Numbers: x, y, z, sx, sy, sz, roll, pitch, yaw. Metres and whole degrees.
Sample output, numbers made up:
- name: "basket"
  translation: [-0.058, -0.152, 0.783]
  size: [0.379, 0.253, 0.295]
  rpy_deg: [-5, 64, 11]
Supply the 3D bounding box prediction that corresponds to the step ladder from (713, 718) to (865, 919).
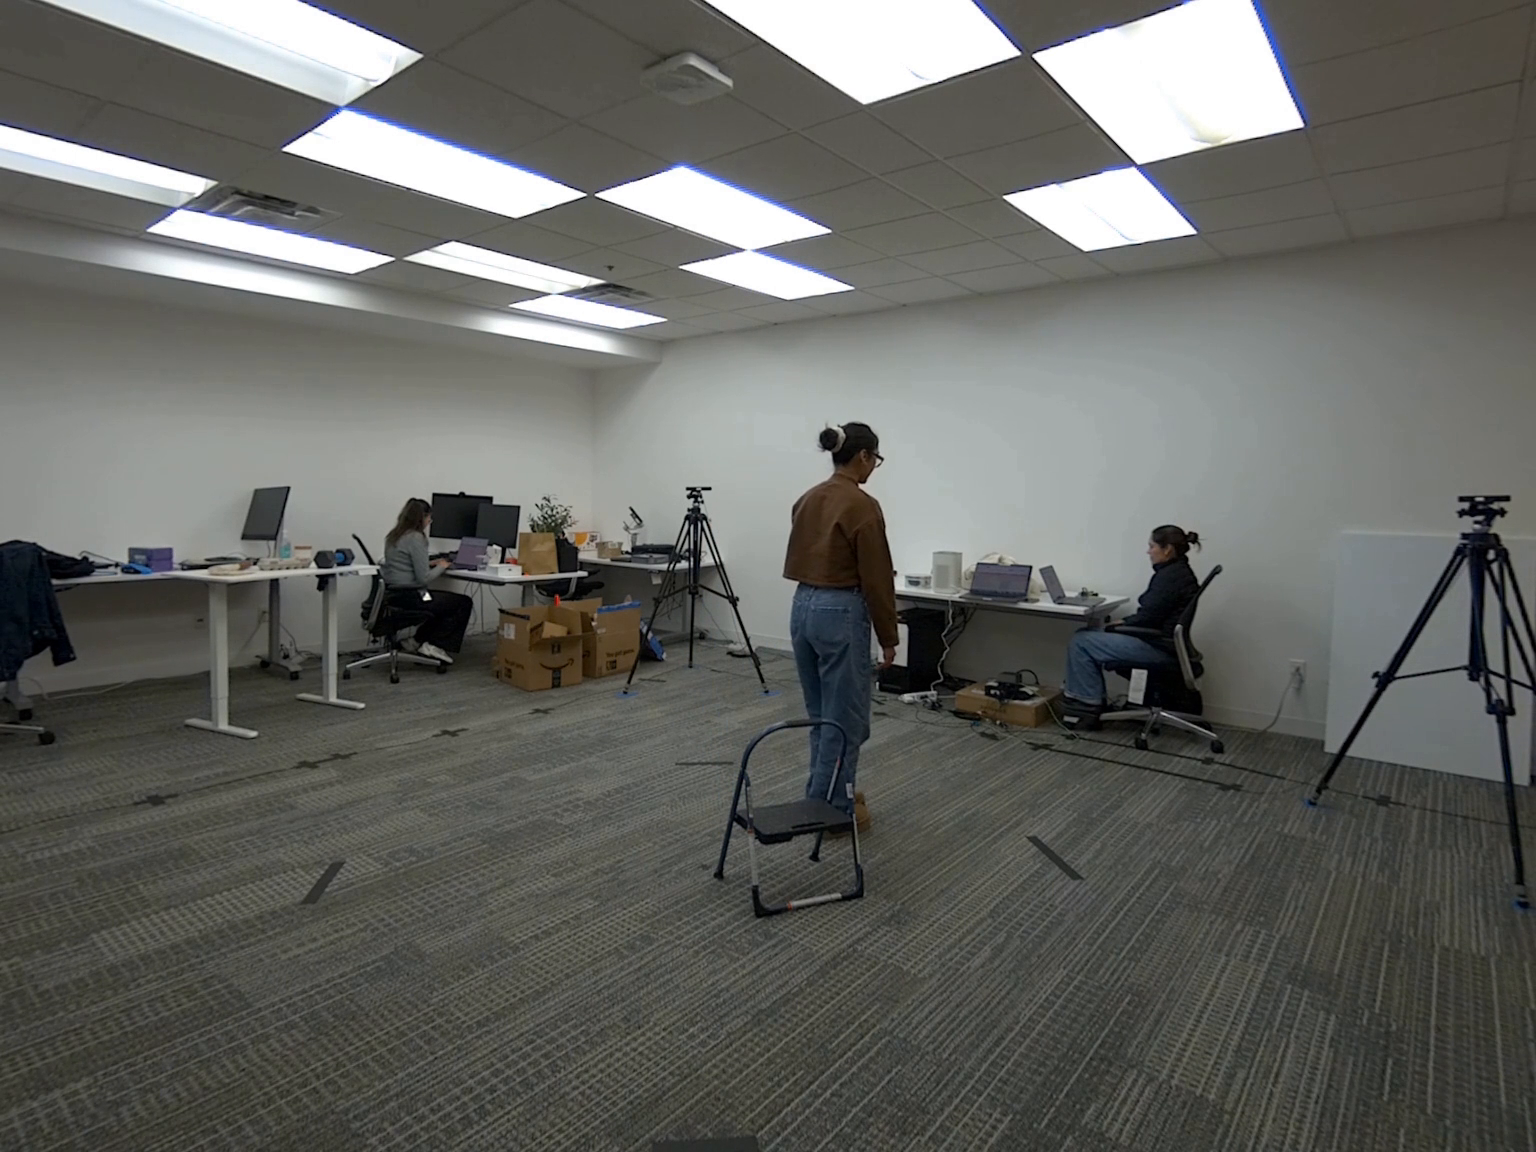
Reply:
- name: "step ladder"
  translation: [0.068, 0.783, 2.969]
  size: [0.420, 0.604, 0.359]
  rpy_deg: [-1, 4, -26]
